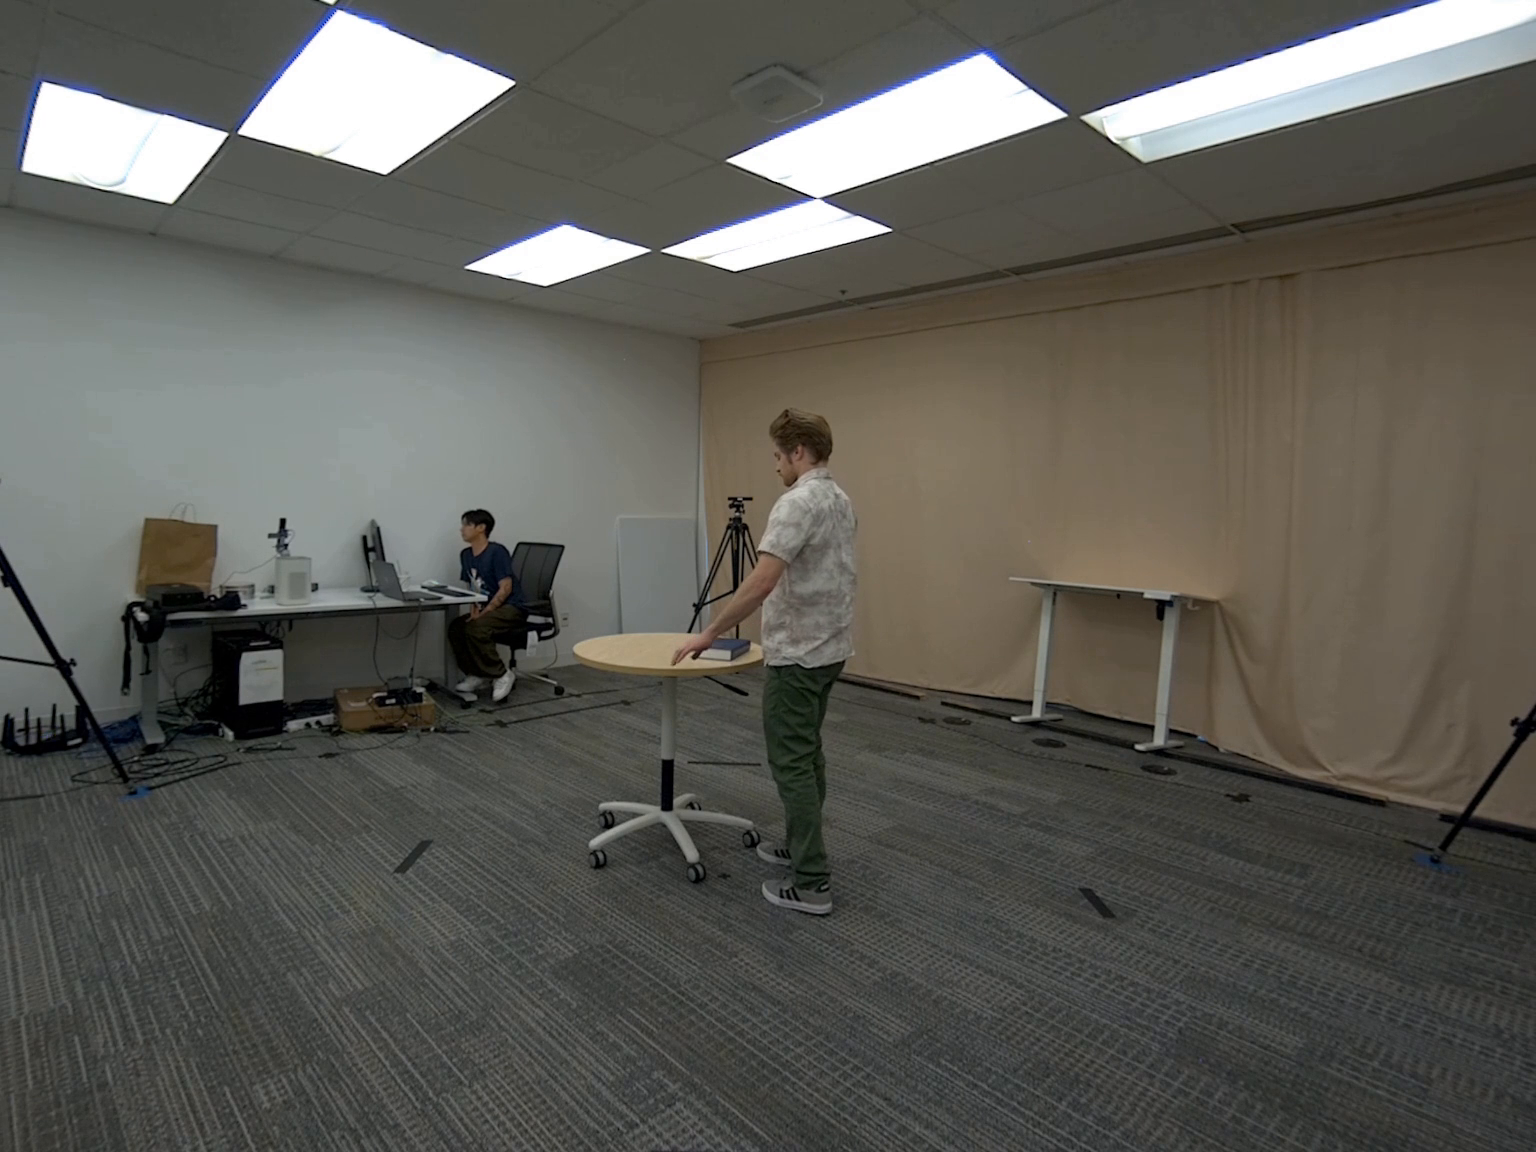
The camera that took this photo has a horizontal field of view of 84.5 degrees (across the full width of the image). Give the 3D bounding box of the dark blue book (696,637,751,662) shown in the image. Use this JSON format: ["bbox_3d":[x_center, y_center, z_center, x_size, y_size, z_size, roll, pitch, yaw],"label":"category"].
[{"bbox_3d":[-0.189,0.282,3.266,0.166,0.045,0.242,3,6,16],"label":"dark blue book"}]
